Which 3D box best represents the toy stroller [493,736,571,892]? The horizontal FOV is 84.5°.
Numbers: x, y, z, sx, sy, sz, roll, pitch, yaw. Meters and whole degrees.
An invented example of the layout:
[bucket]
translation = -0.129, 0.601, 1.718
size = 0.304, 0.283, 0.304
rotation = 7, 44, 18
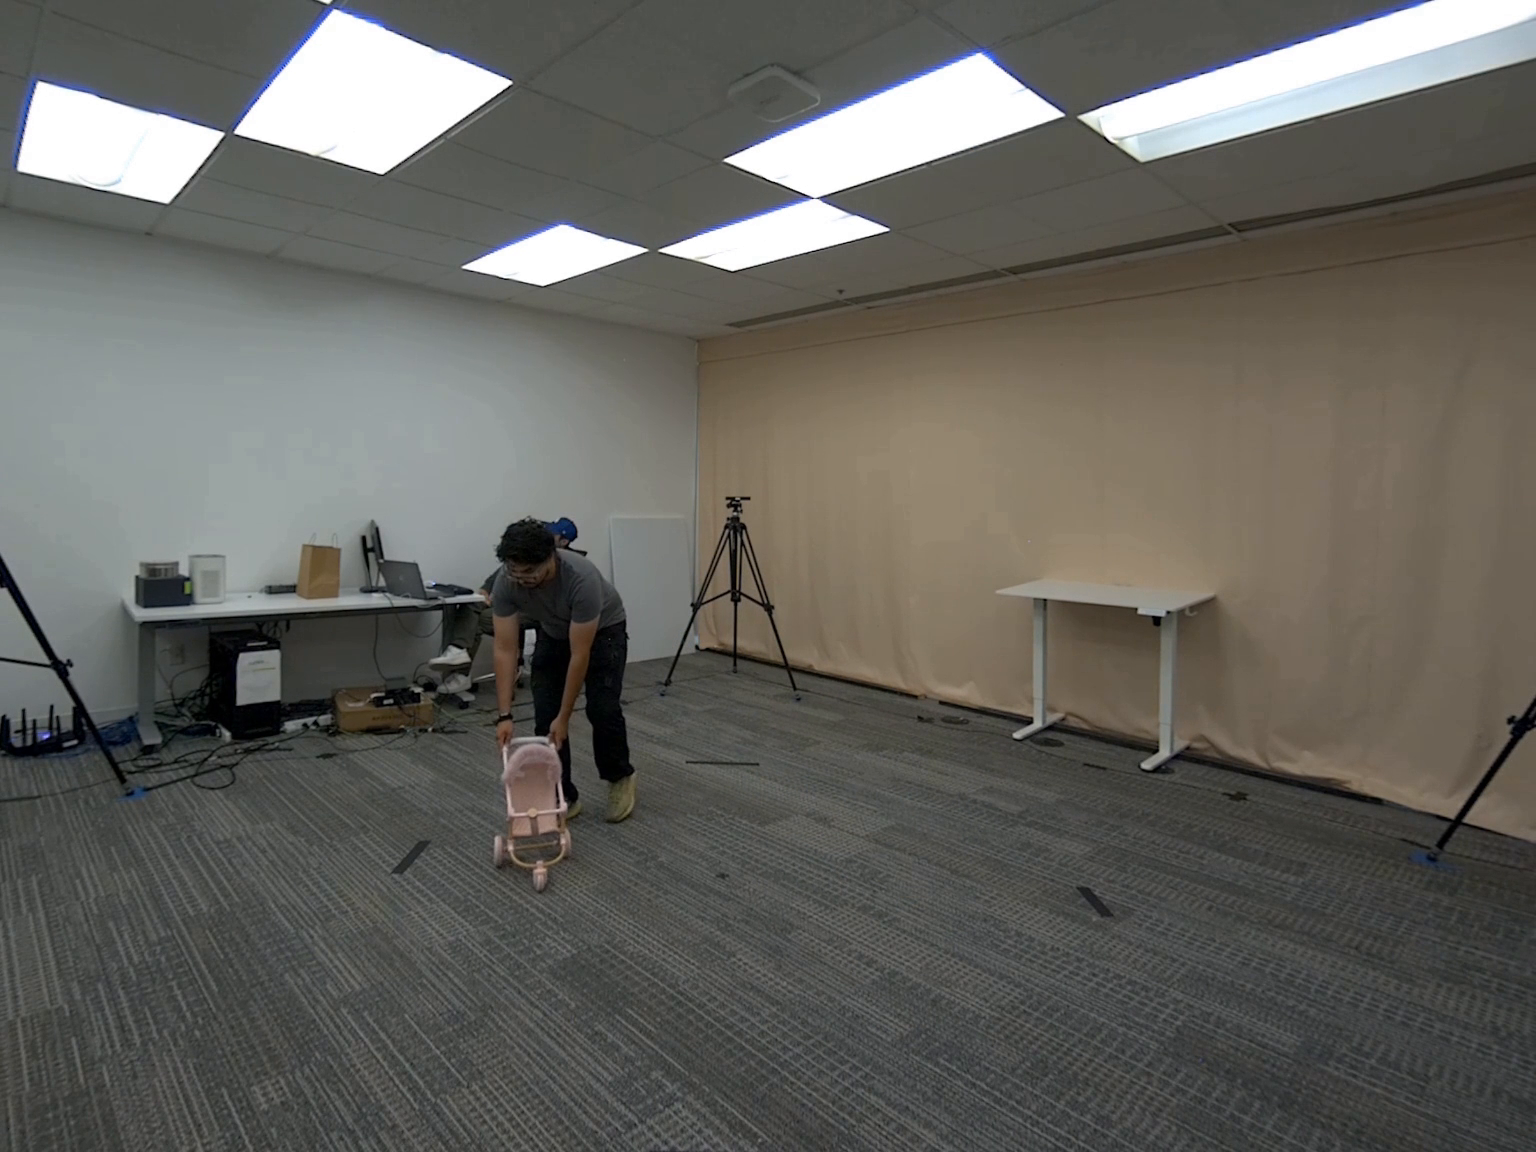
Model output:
[toy stroller]
translation = -0.873, 0.862, 3.118
size = 0.278, 0.540, 0.342
rotation = 0, -13, -17
